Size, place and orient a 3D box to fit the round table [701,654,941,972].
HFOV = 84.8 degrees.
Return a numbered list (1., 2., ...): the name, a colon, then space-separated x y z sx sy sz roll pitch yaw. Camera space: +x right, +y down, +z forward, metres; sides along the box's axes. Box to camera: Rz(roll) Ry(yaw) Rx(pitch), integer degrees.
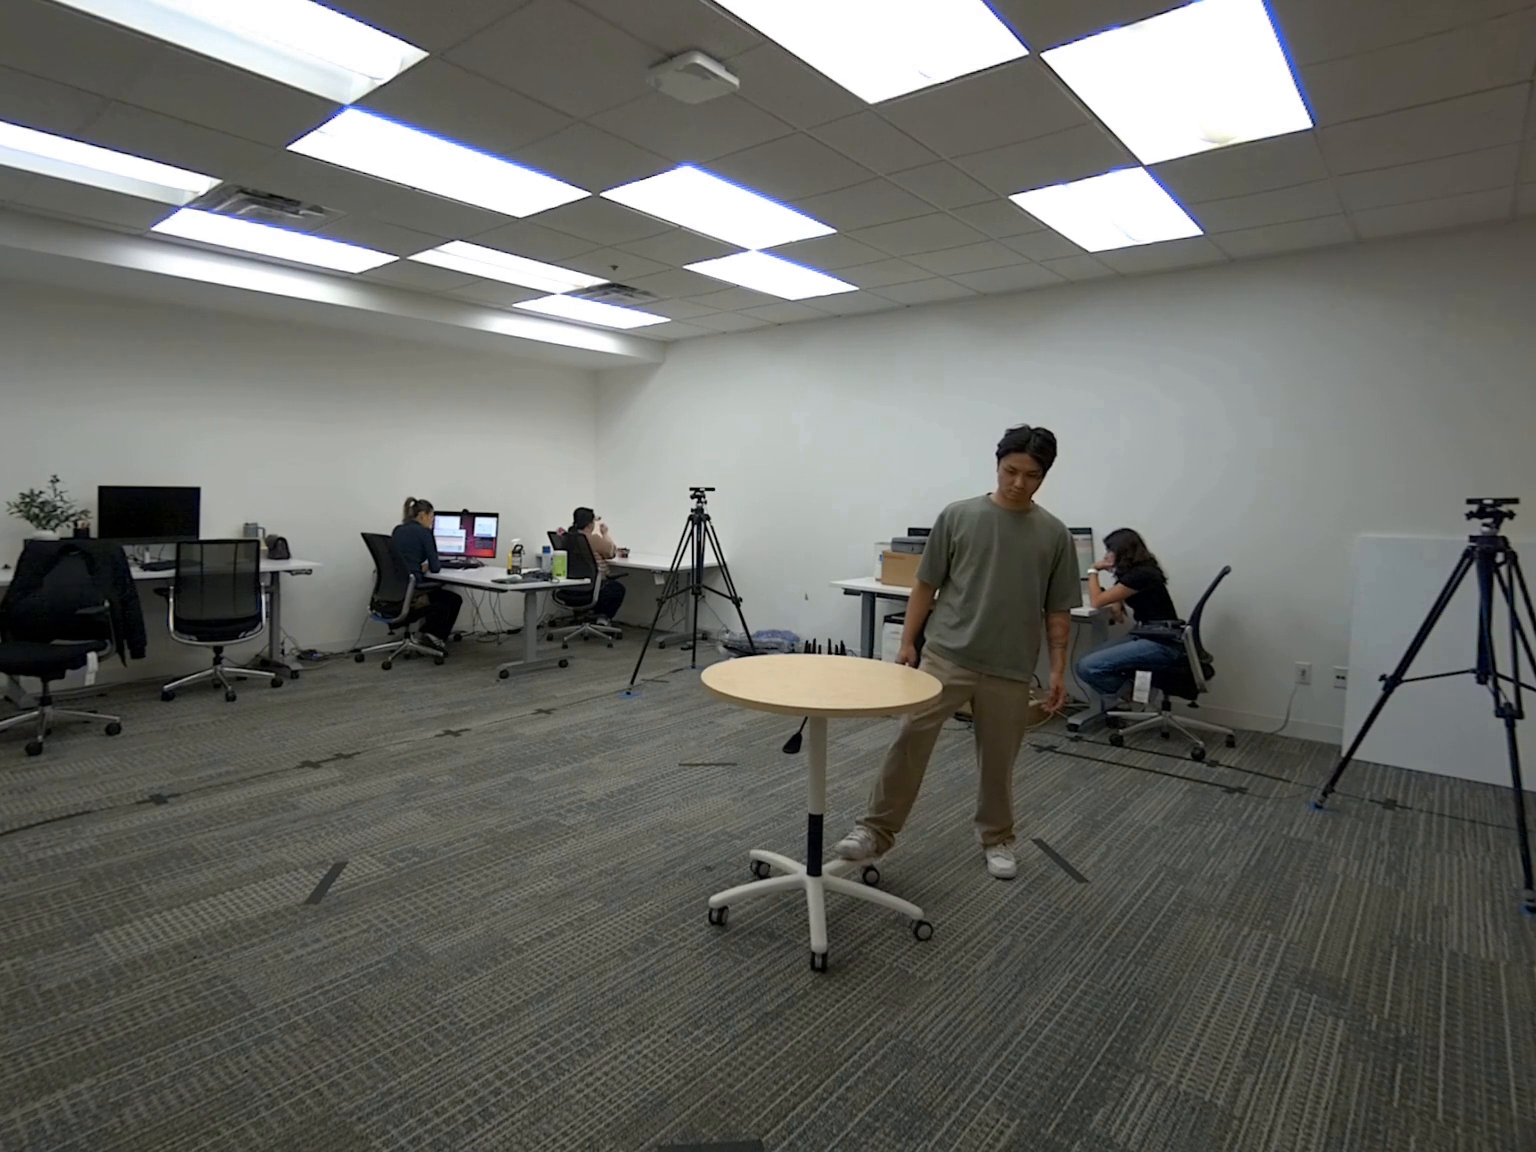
1. round table: 0.146 0.716 2.751 0.784 0.784 0.789 1 4 -2
